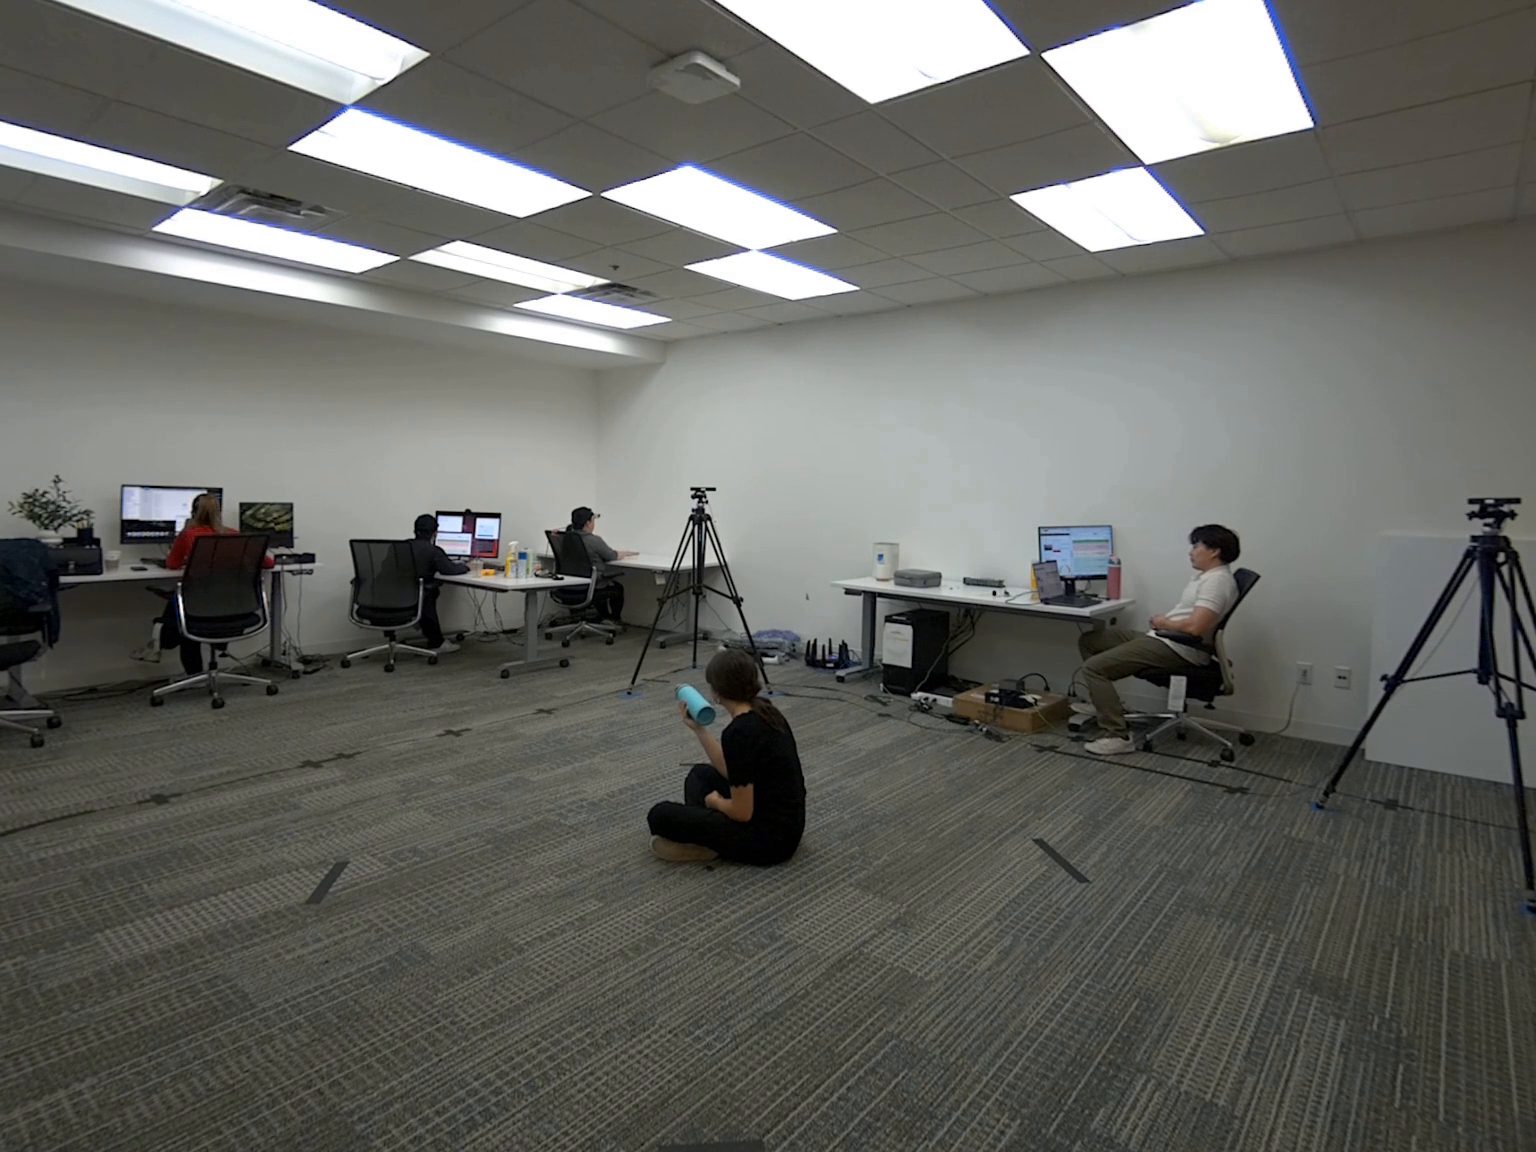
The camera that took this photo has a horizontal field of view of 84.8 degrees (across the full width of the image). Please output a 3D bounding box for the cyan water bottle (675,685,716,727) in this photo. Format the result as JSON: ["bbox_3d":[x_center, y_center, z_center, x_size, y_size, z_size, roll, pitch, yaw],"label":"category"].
[{"bbox_3d":[-0.325,0.533,3.618,0.090,0.091,0.294,-1,15,-28],"label":"cyan water bottle"}]
